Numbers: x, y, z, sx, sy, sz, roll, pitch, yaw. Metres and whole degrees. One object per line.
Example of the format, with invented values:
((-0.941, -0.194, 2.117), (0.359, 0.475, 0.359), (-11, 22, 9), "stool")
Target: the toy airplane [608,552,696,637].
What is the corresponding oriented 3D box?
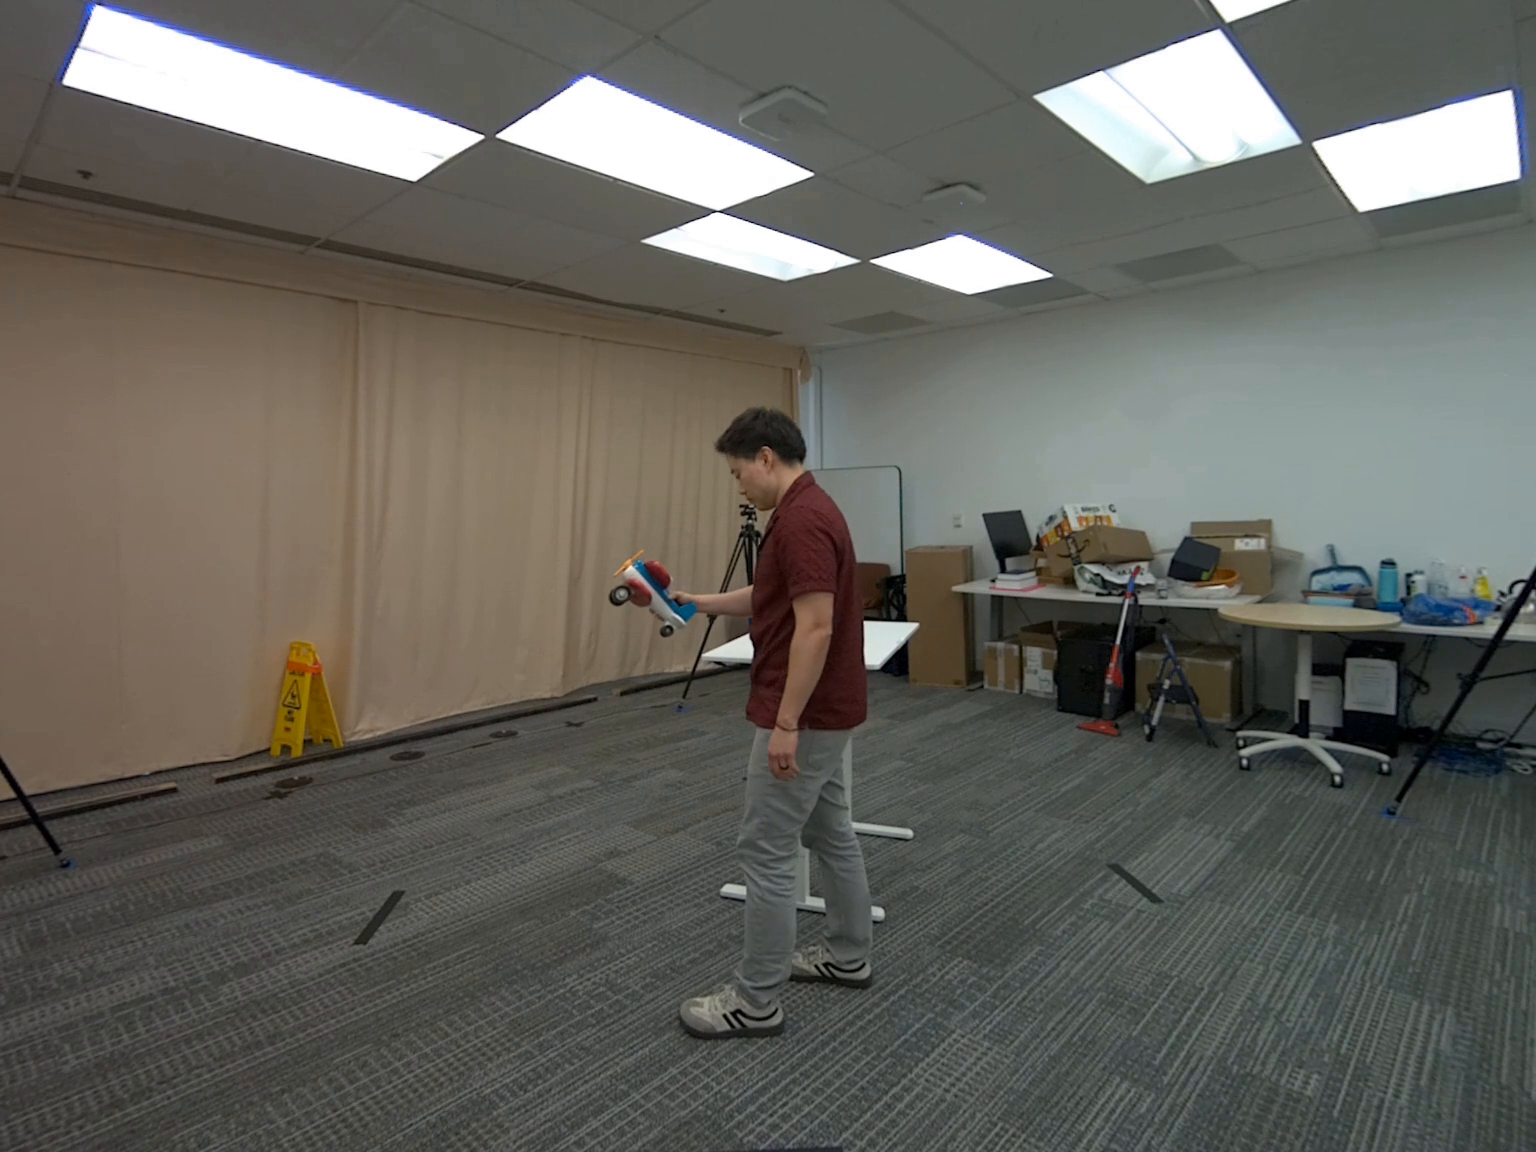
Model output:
((-0.352, 0.067, 2.531), (0.260, 0.156, 0.251), (11, -27, 51), "toy airplane")
